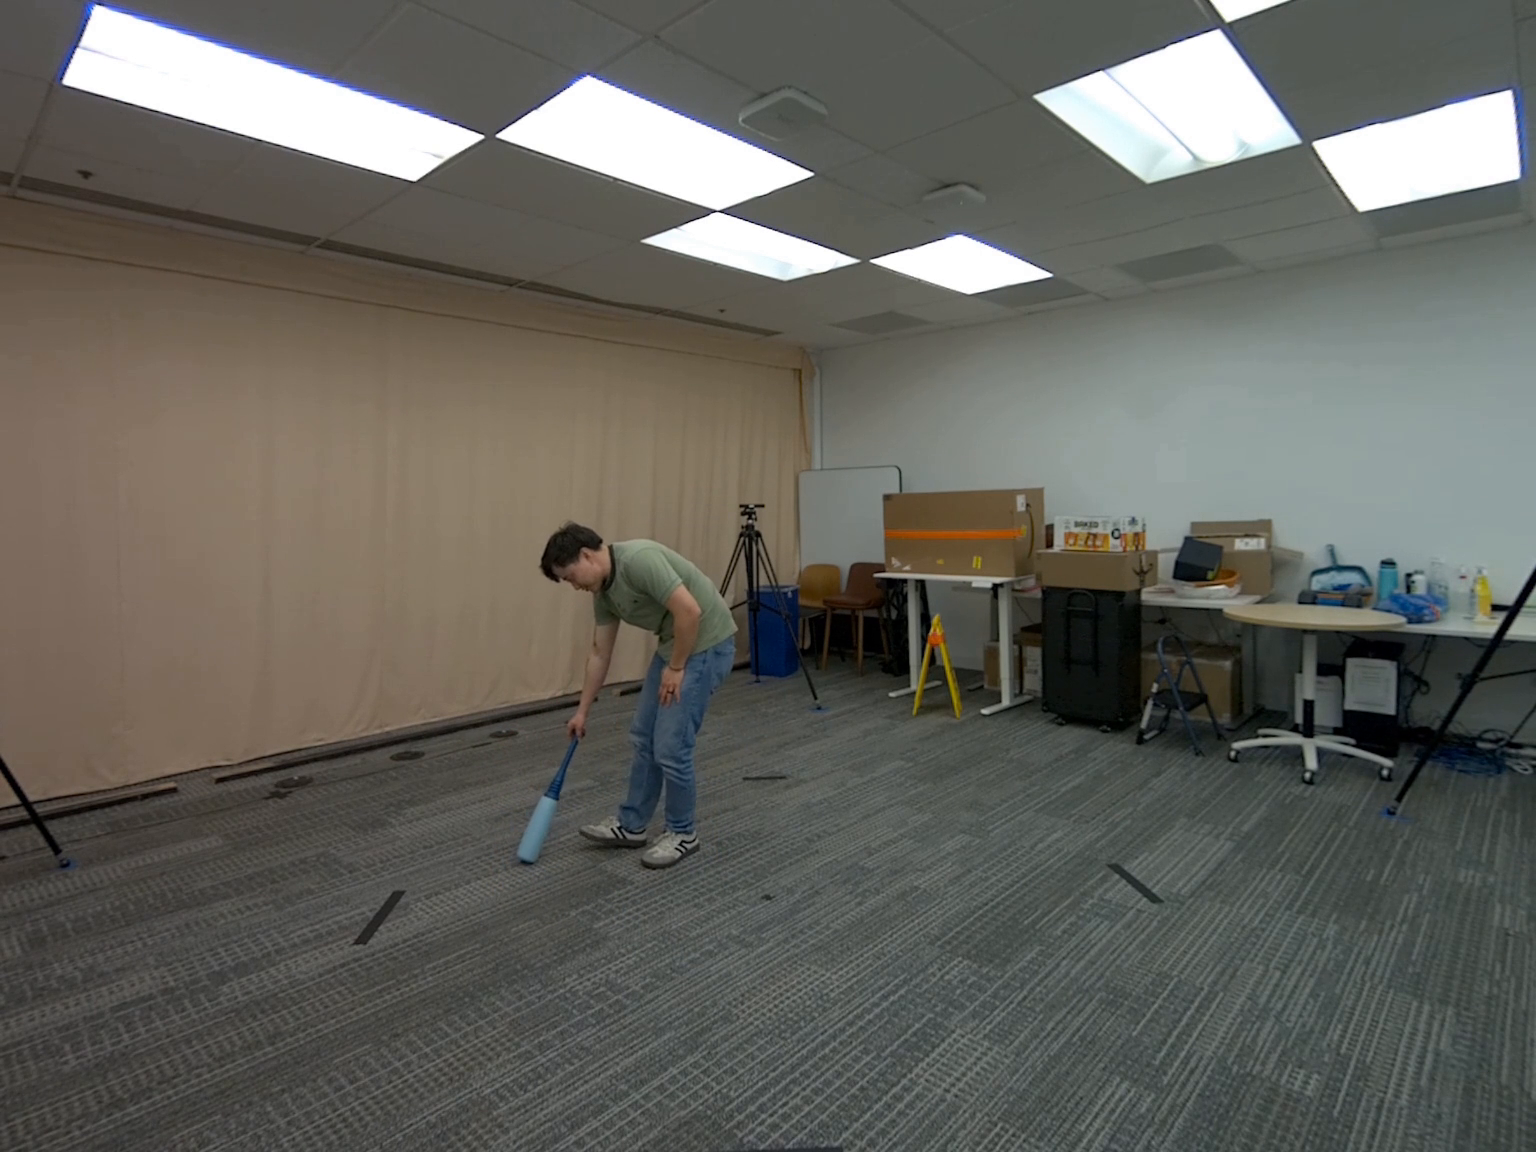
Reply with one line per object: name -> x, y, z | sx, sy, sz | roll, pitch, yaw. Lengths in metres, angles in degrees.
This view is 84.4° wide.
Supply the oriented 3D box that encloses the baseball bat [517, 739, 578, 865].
baseball bat -> -0.871, 0.885, 3.404 | 0.090, 0.545, 0.088 | 19, -19, 5
